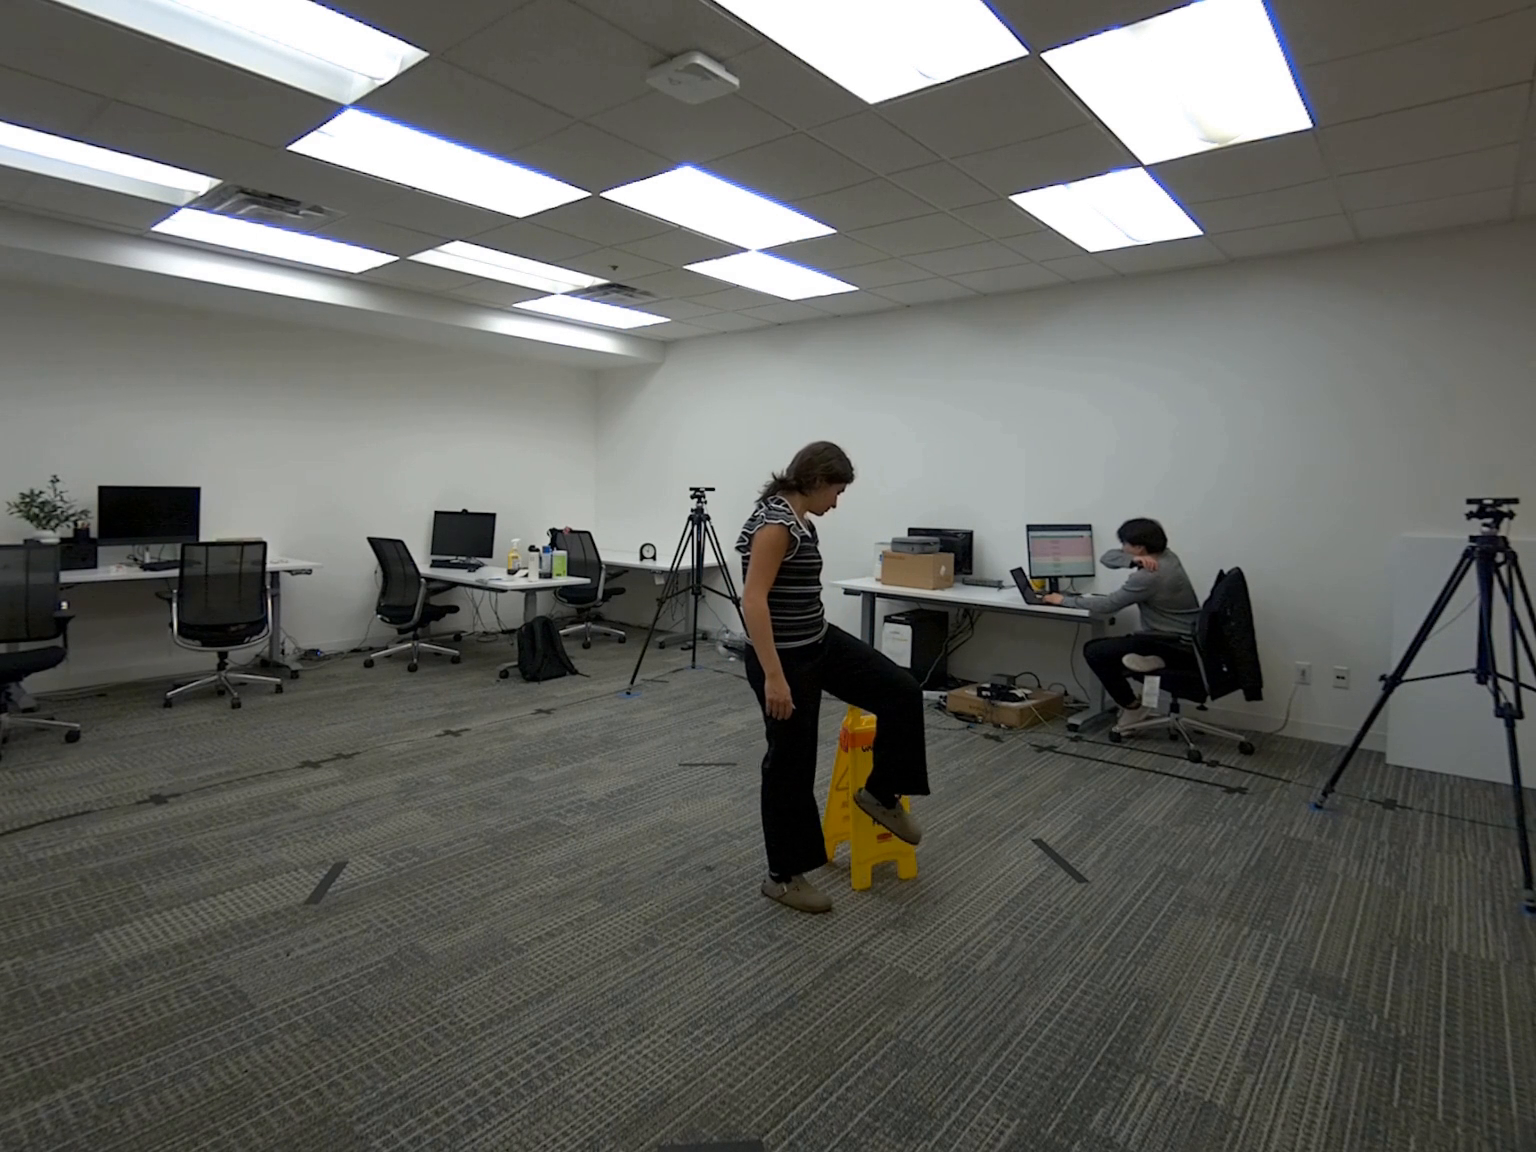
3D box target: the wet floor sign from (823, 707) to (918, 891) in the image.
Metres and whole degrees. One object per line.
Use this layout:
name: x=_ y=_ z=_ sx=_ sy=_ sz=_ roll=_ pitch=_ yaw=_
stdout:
wet floor sign: x=0.361 y=0.752 z=3.110 sx=0.275 sy=0.644 sz=0.298 roll=0 pitch=4 yaw=-29
